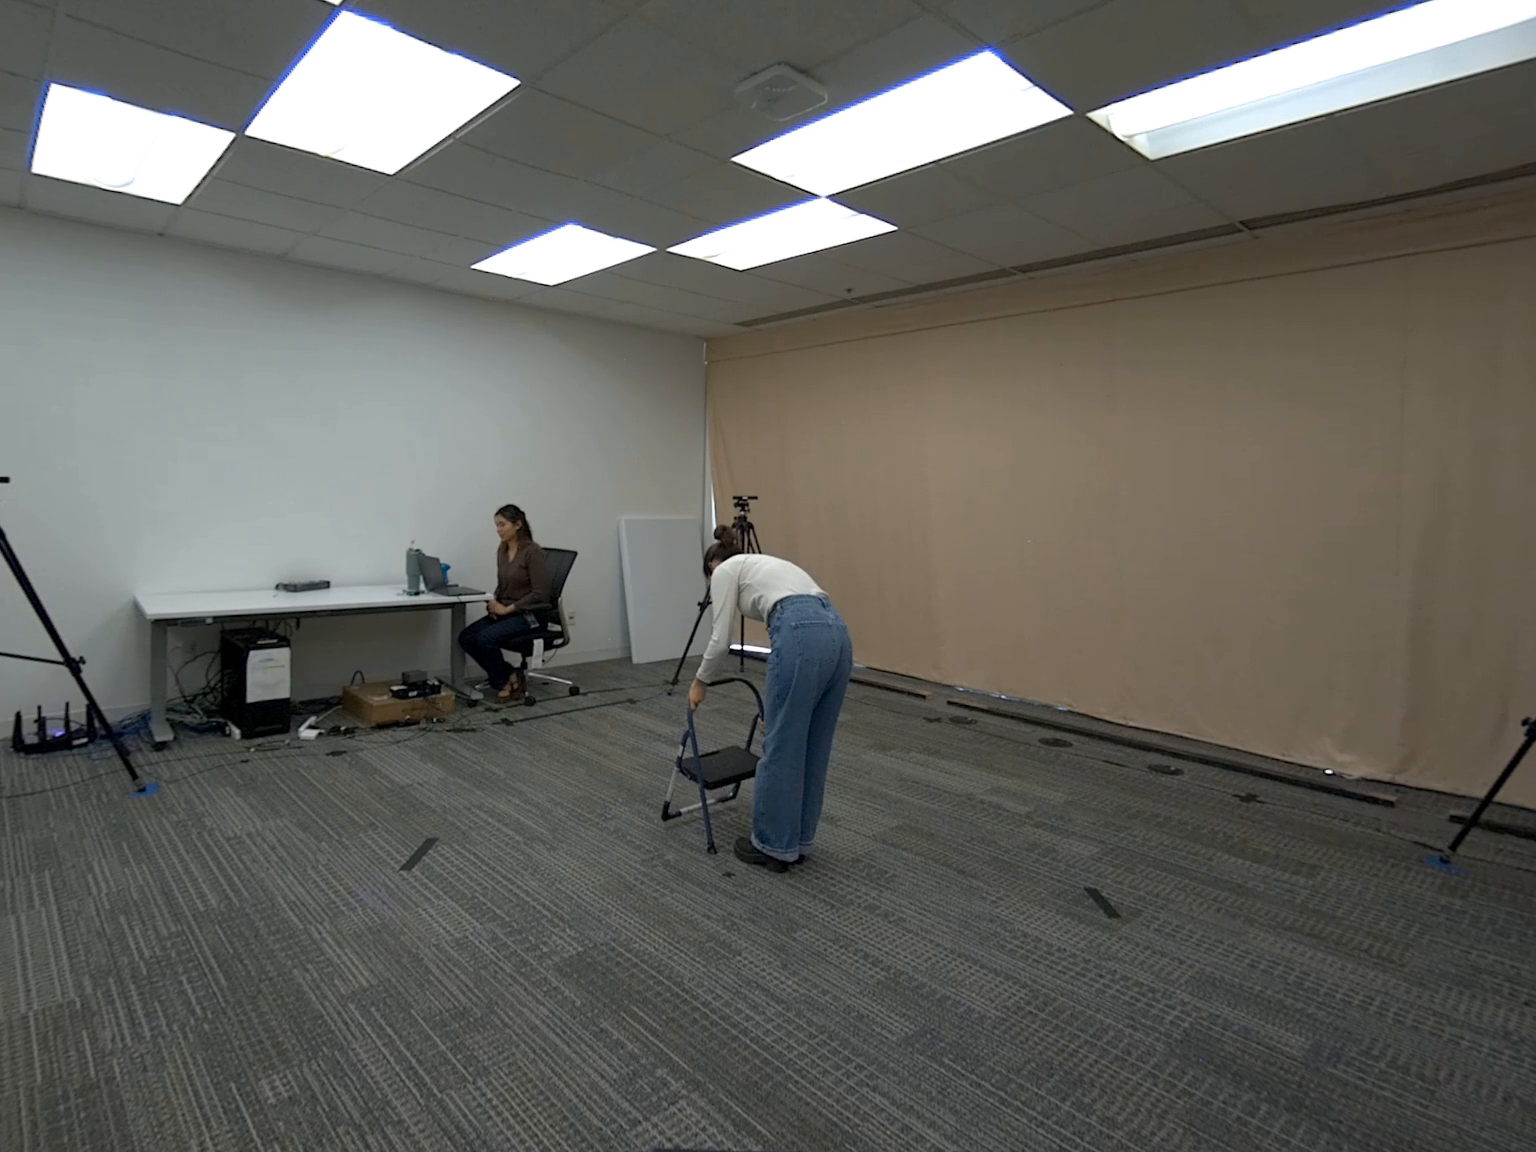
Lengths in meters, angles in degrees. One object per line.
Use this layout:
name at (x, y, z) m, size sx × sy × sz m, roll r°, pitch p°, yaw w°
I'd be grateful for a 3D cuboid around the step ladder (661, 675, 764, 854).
step ladder at (-0.173, 0.744, 3.507) m, size 0.421 × 0.603 × 0.359 m, roll -3°, pitch 12°, yaw -44°
